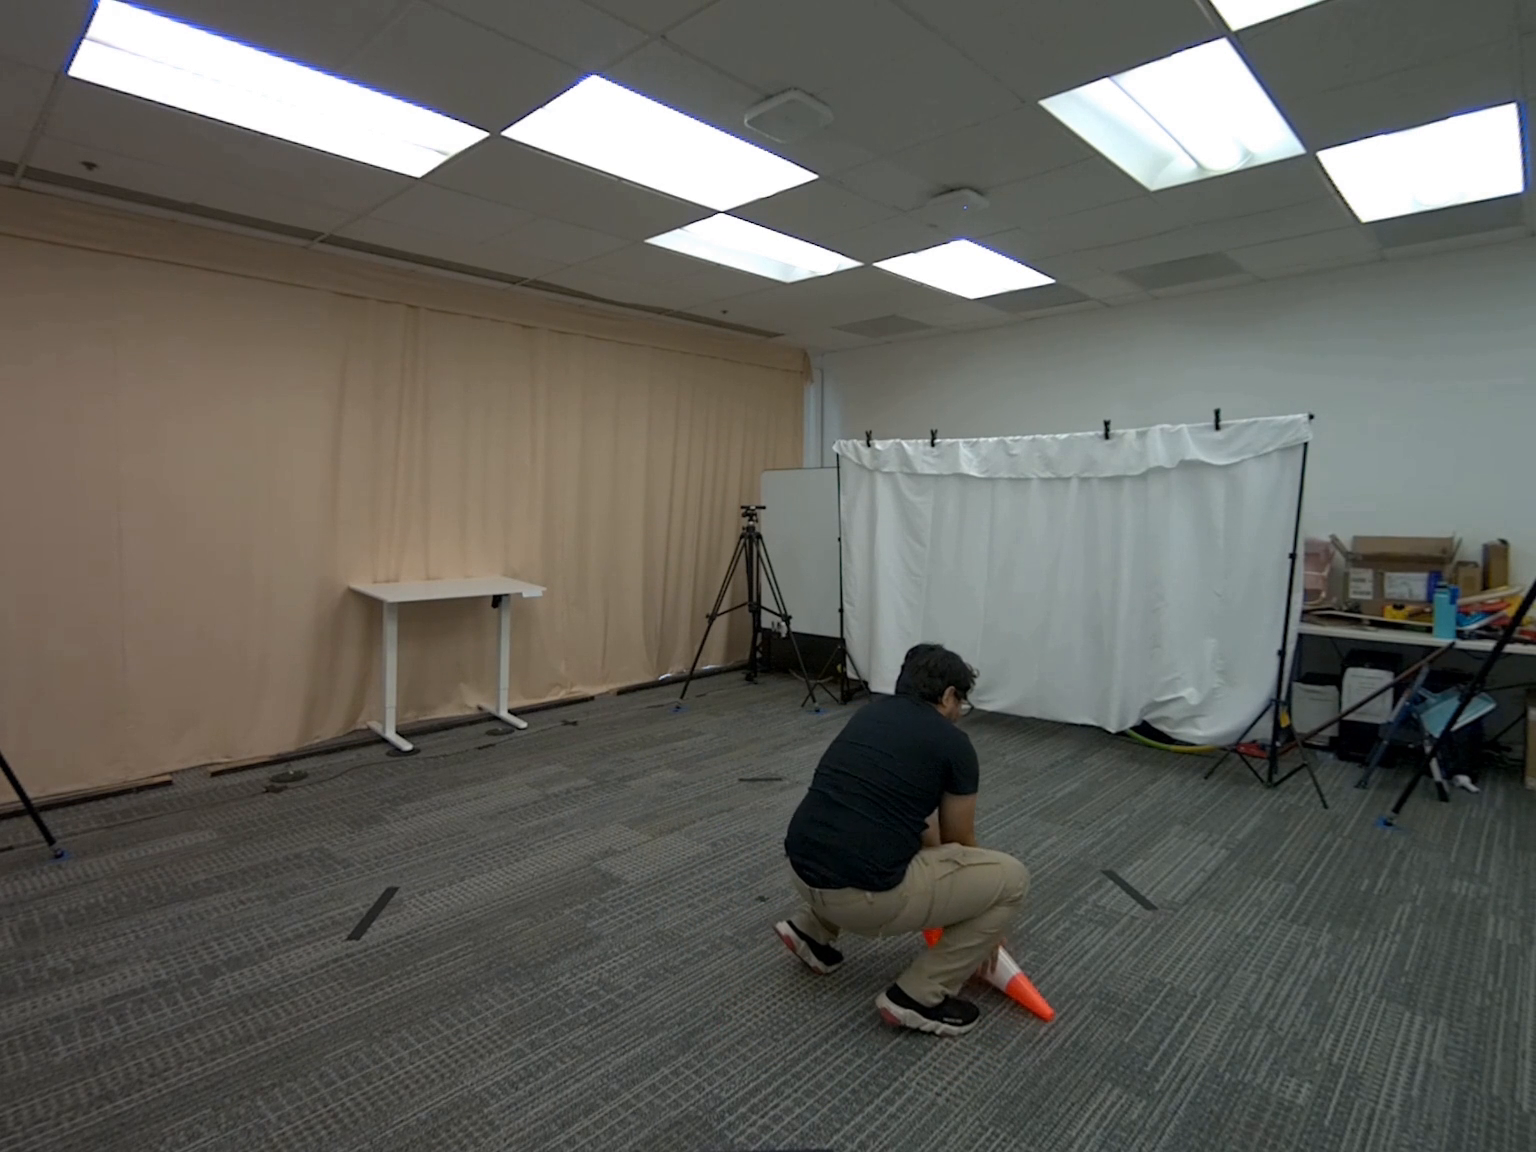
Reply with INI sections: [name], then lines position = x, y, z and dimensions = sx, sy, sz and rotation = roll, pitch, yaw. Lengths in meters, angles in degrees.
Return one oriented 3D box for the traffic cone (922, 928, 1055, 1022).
[traffic cone]
position = 0.658, 1.152, 2.412
dimensions = 0.202, 0.199, 0.397
rotation = -34, 36, -8
